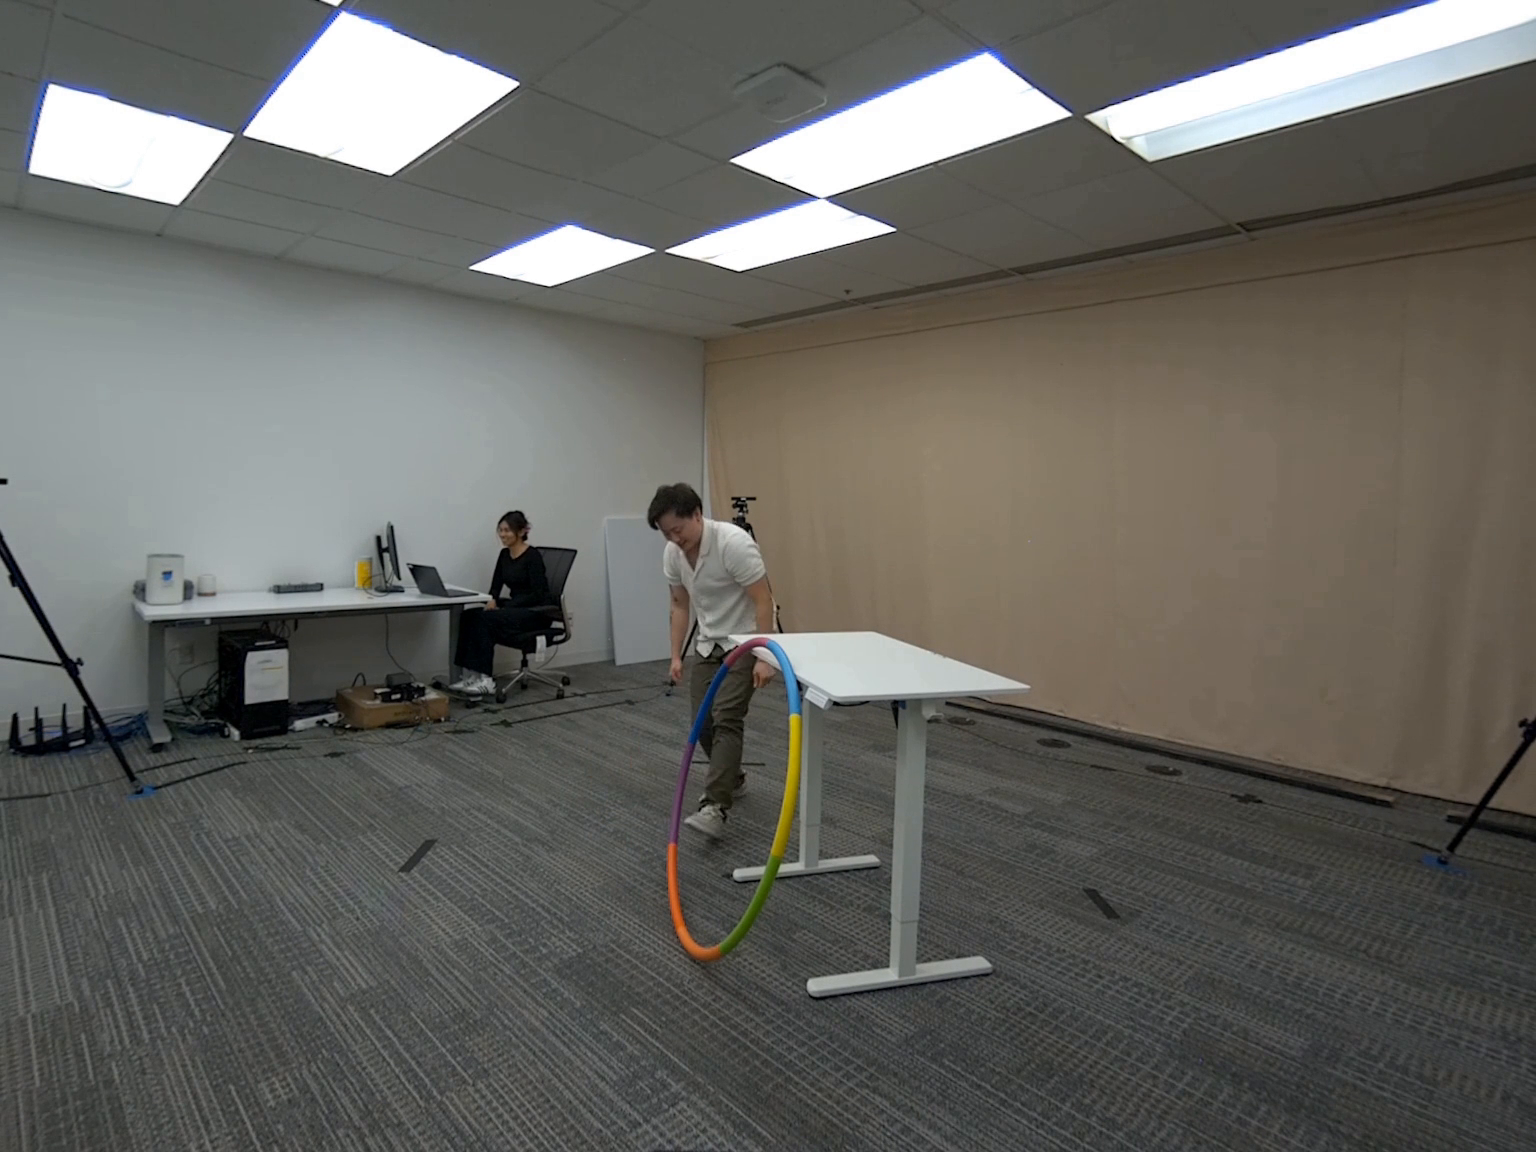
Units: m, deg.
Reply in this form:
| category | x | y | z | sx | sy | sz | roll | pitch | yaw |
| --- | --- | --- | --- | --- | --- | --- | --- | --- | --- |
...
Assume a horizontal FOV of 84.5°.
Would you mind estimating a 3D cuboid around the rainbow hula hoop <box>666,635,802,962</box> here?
| category | x | y | z | sx | sy | sz | roll | pitch | yaw |
| --- | --- | --- | --- | --- | --- | --- | --- | --- | --- |
| rainbow hula hoop | -0.146 | 0.684 | 2.655 | 0.035 | 0.979 | 0.995 | 18 | -1 | -19 |
